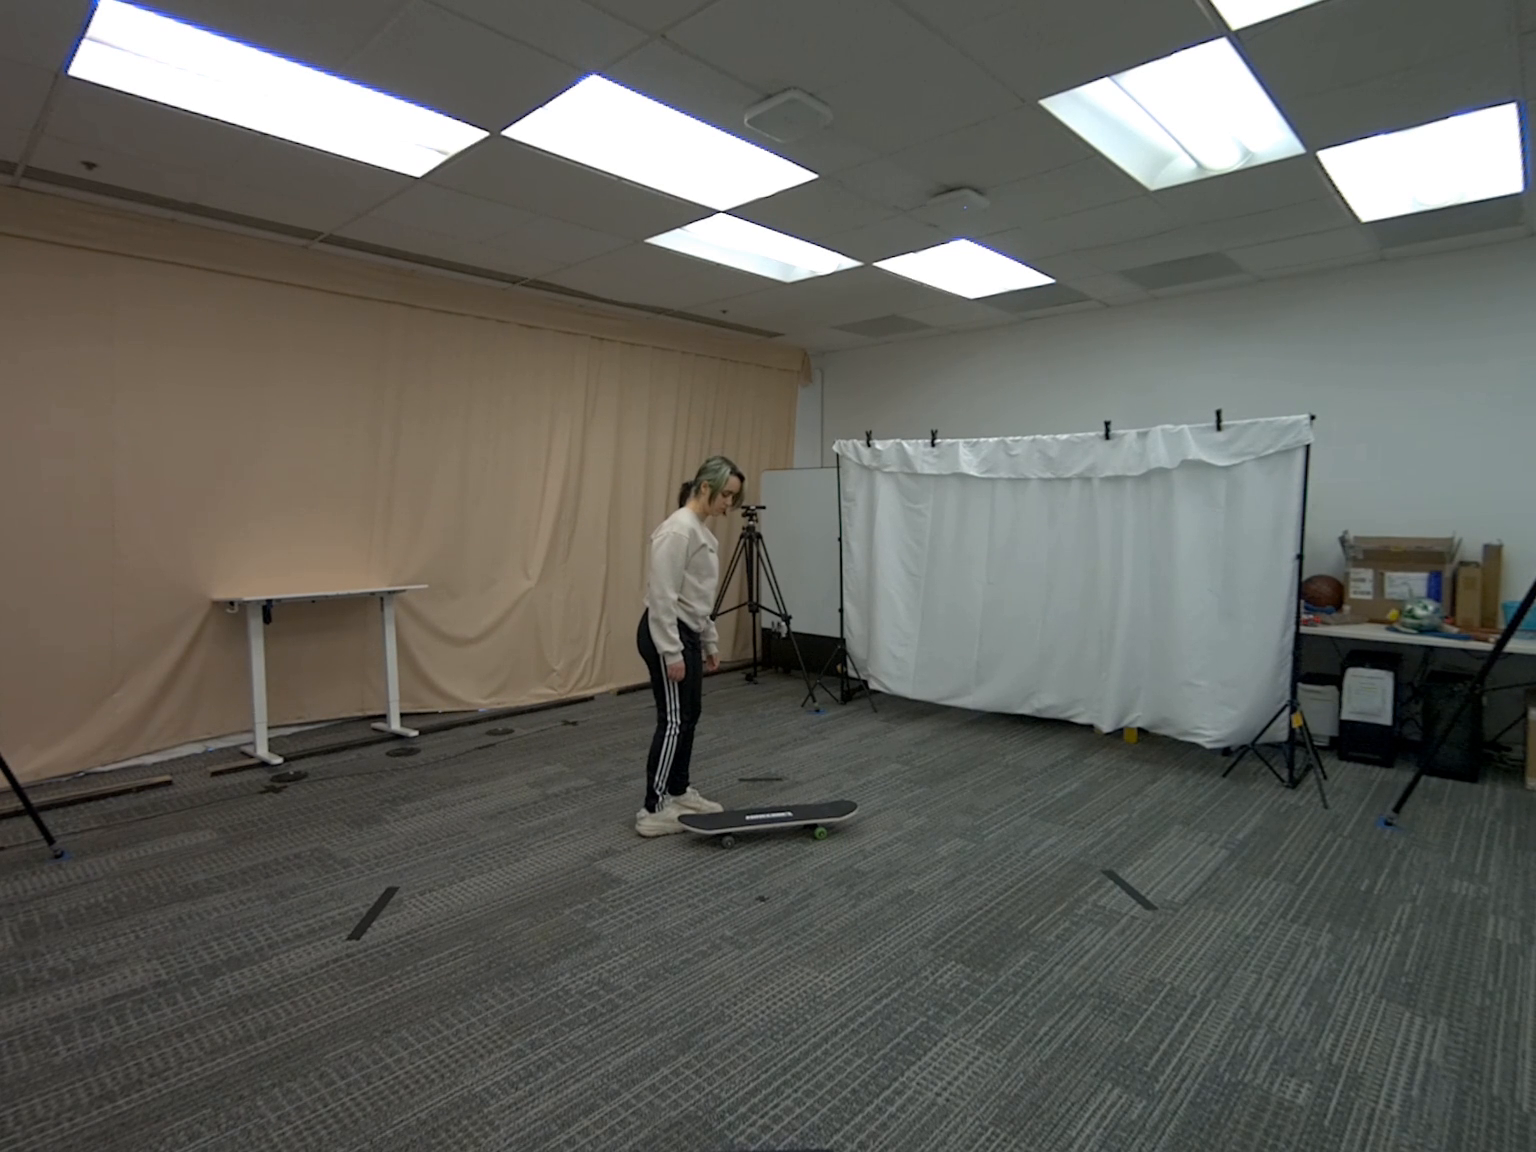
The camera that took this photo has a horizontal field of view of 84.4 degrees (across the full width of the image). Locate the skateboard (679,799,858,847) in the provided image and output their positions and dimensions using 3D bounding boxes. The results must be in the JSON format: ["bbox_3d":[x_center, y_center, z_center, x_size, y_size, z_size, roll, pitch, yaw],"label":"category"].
[{"bbox_3d":[0.005,1.039,3.539,0.774,0.110,0.197,-1,5,-14],"label":"skateboard"}]
